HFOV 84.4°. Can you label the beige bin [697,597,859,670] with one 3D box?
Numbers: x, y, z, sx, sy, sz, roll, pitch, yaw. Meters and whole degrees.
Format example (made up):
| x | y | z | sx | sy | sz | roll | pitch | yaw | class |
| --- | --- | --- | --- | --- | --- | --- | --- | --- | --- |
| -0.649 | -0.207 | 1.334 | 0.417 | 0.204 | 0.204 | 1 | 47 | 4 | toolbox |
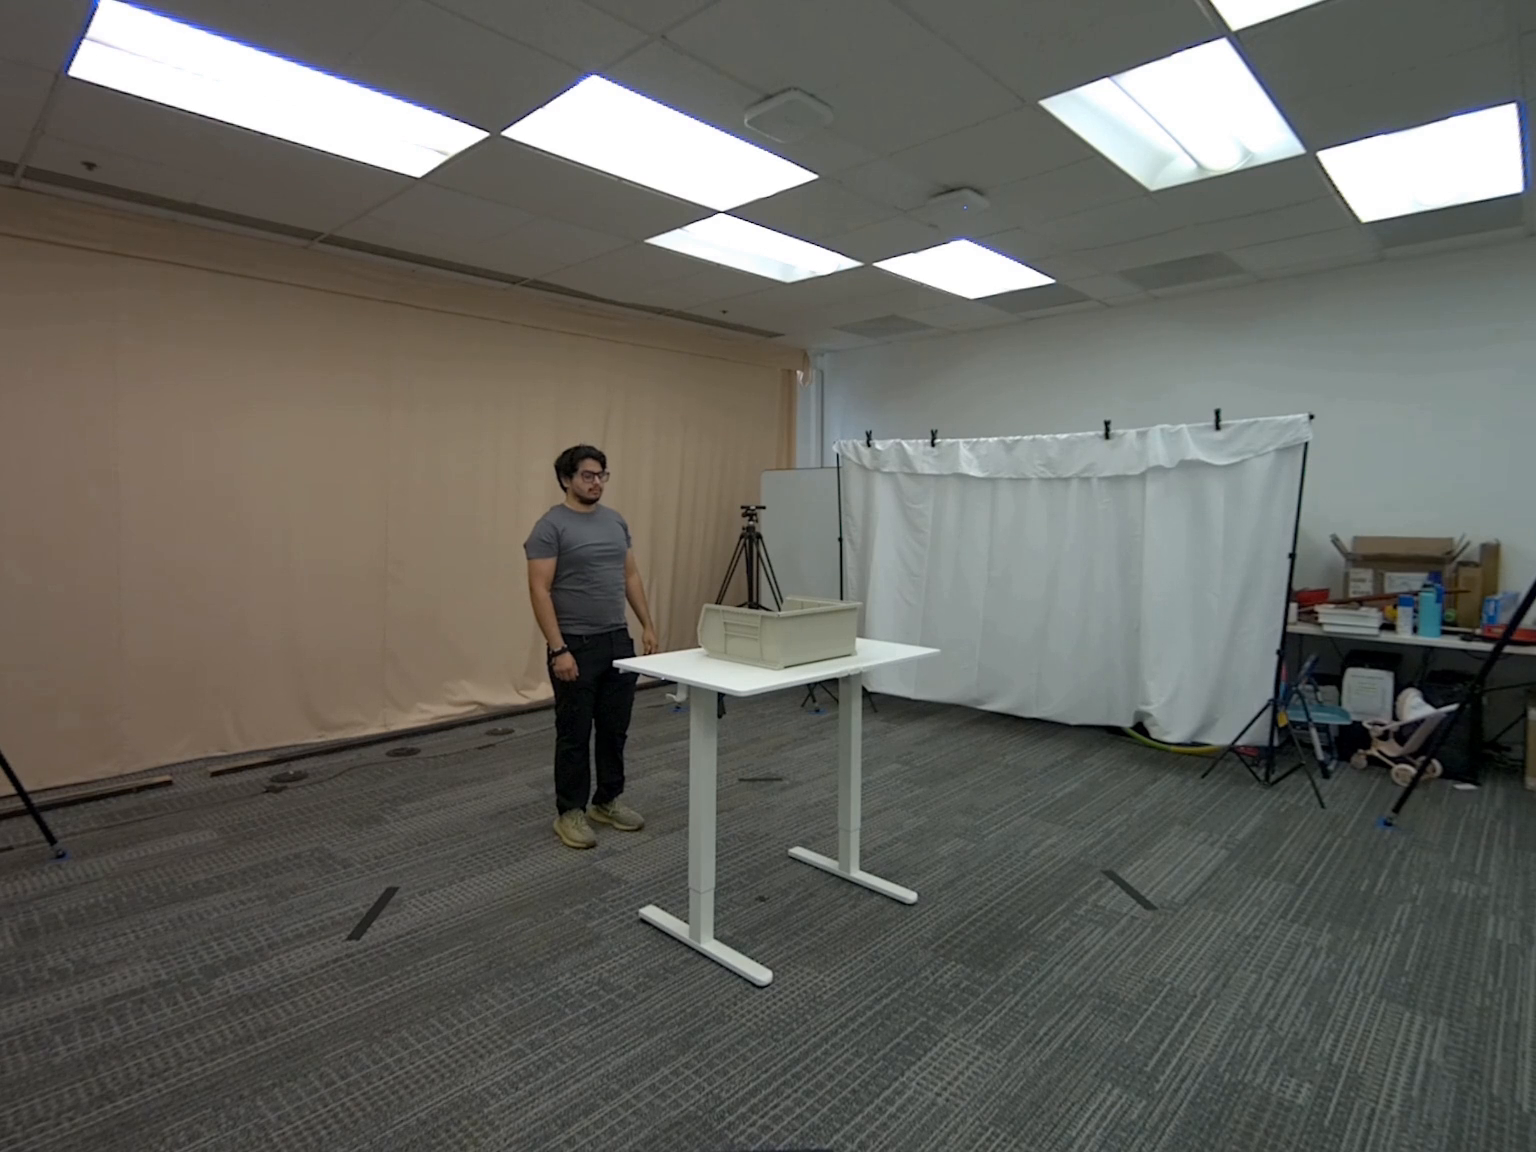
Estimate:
| x | y | z | sx | sy | sz | roll | pitch | yaw | class |
| --- | --- | --- | --- | --- | --- | --- | --- | --- | --- |
| 0.041 | 0.182 | 2.855 | 0.390 | 0.188 | 0.409 | 6 | 7 | 44 | beige bin |
